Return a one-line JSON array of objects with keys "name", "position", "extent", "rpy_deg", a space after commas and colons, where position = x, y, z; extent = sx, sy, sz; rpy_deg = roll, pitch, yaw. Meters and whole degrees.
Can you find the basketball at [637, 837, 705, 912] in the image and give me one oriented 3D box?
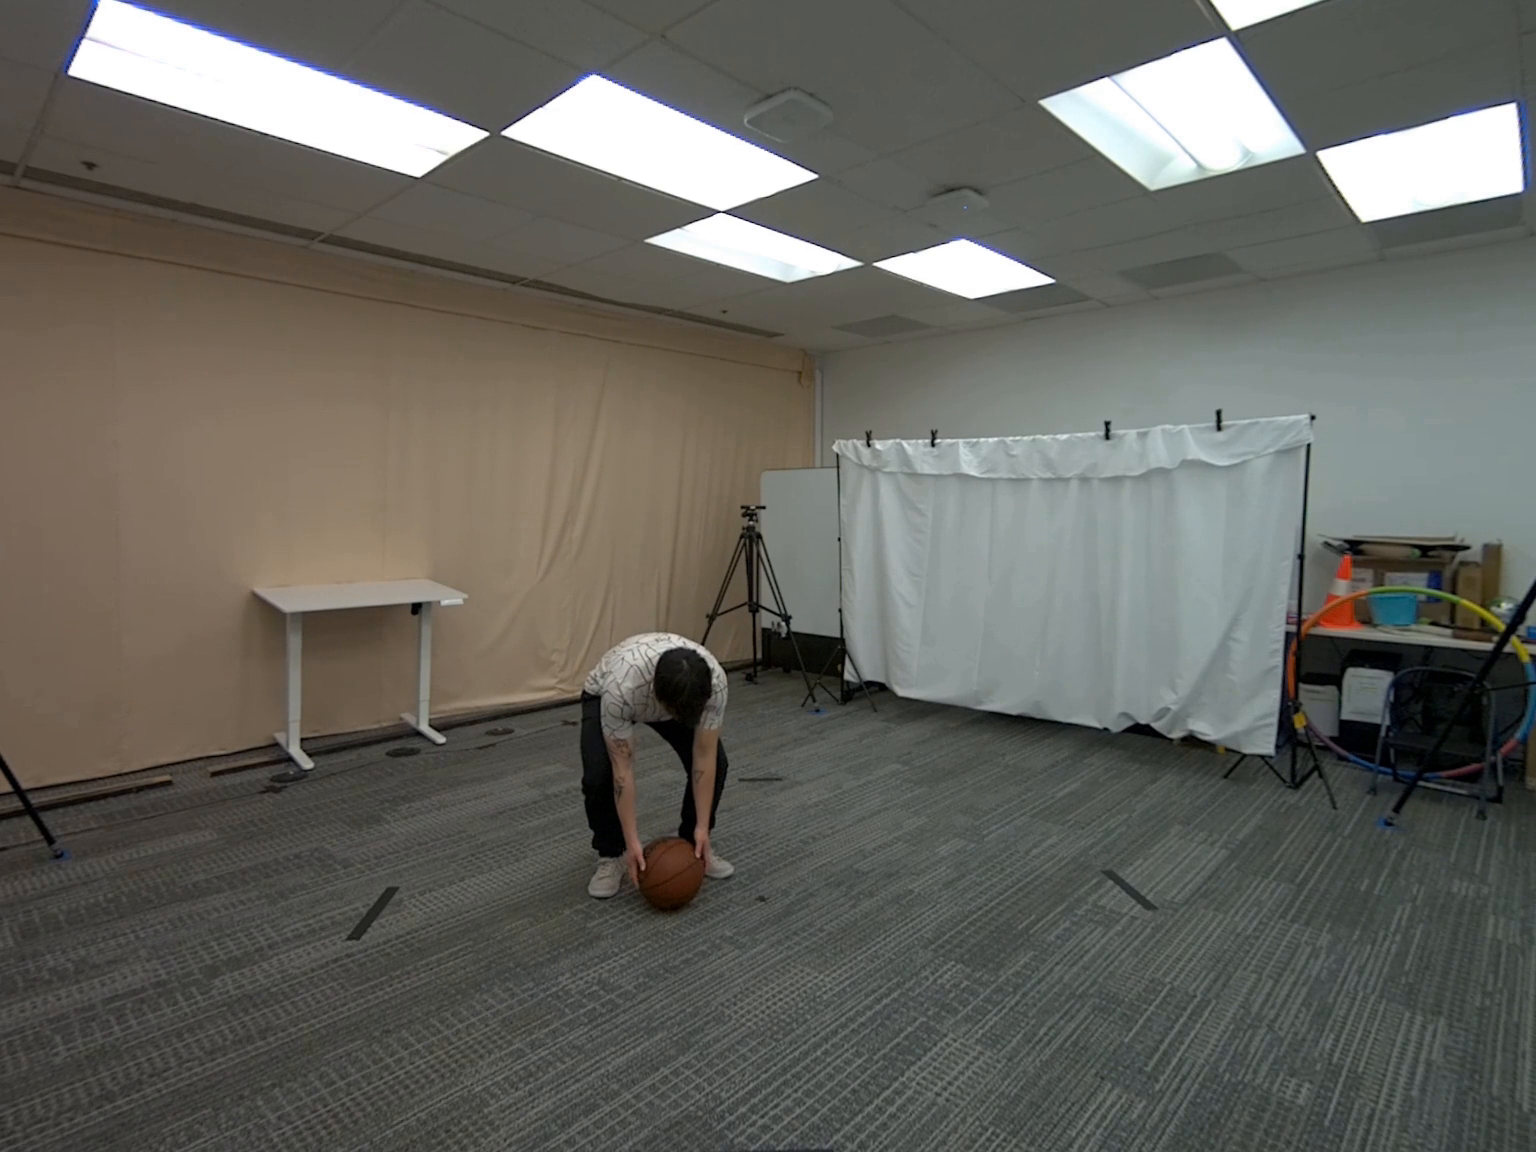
[{"name": "basketball", "position": [-0.338, 1.016, 2.922], "extent": [0.236, 0.235, 0.237], "rpy_deg": [0, 4, -2]}]
